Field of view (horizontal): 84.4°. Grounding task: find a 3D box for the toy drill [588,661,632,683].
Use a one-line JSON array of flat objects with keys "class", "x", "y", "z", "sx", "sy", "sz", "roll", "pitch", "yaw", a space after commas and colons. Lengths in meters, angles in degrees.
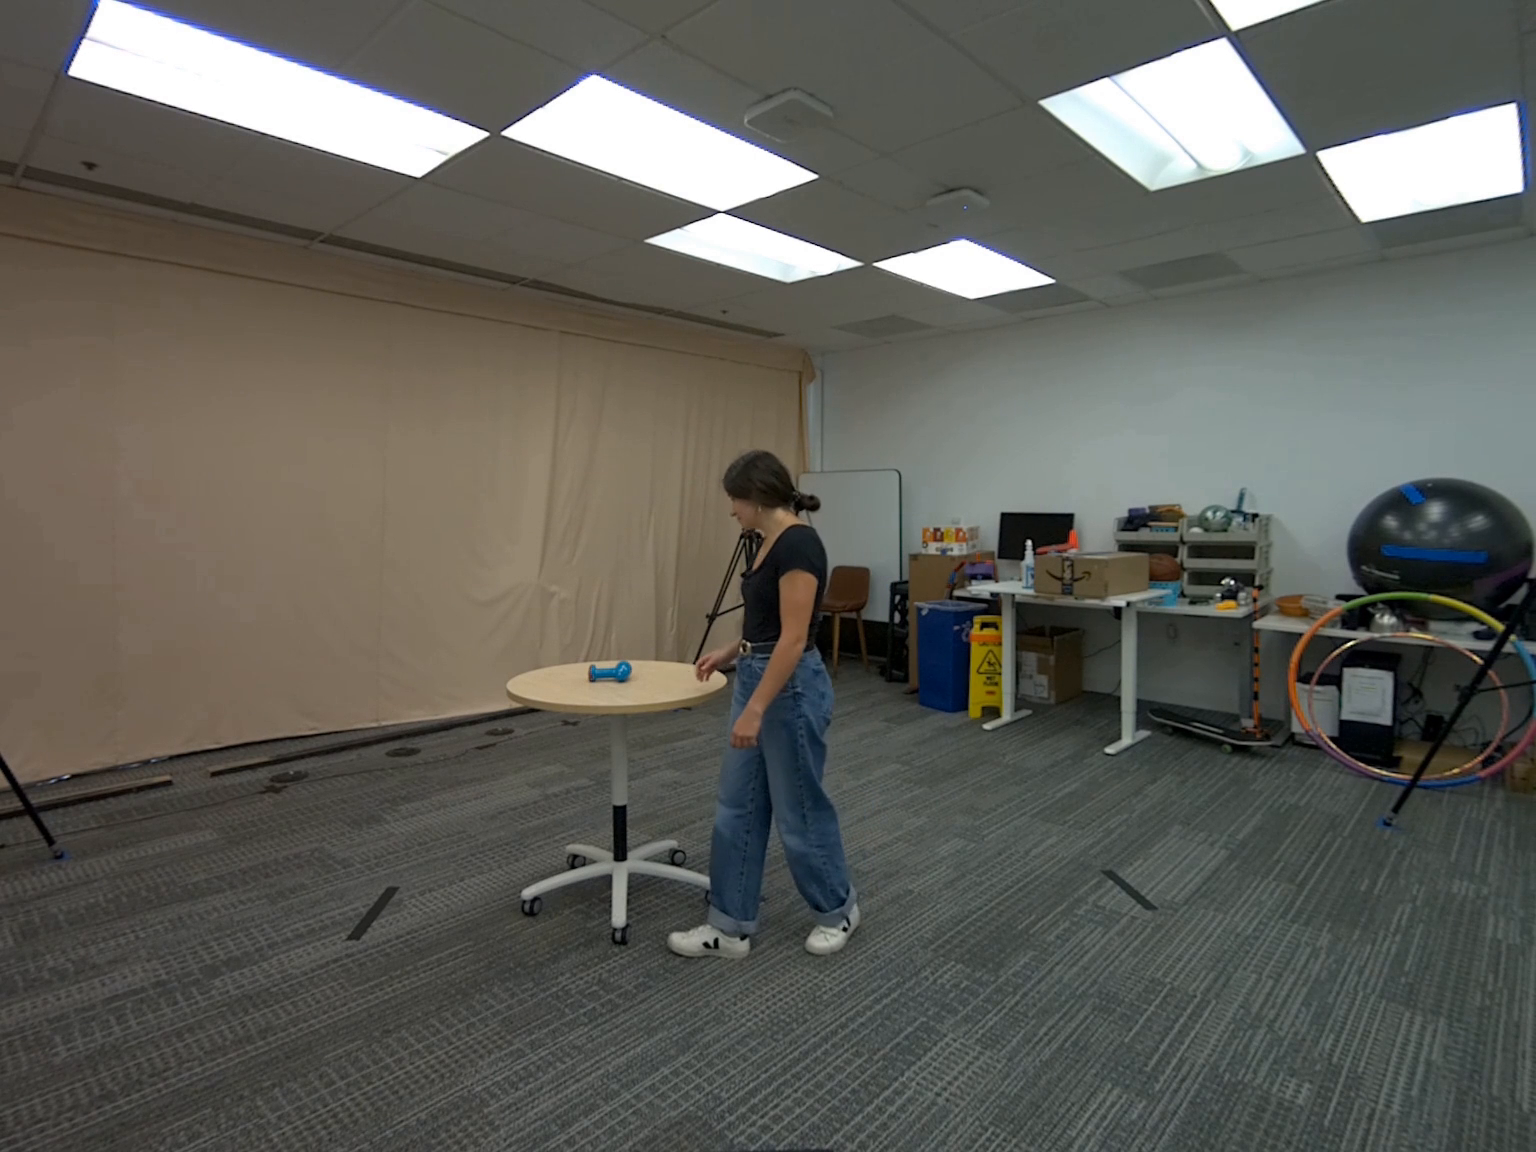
[{"class": "toy drill", "x": -0.549, "y": 0.334, "z": 2.985, "sx": 0.146, "sy": 0.060, "sz": 0.171, "roll": -1, "pitch": 14, "yaw": 1}]
